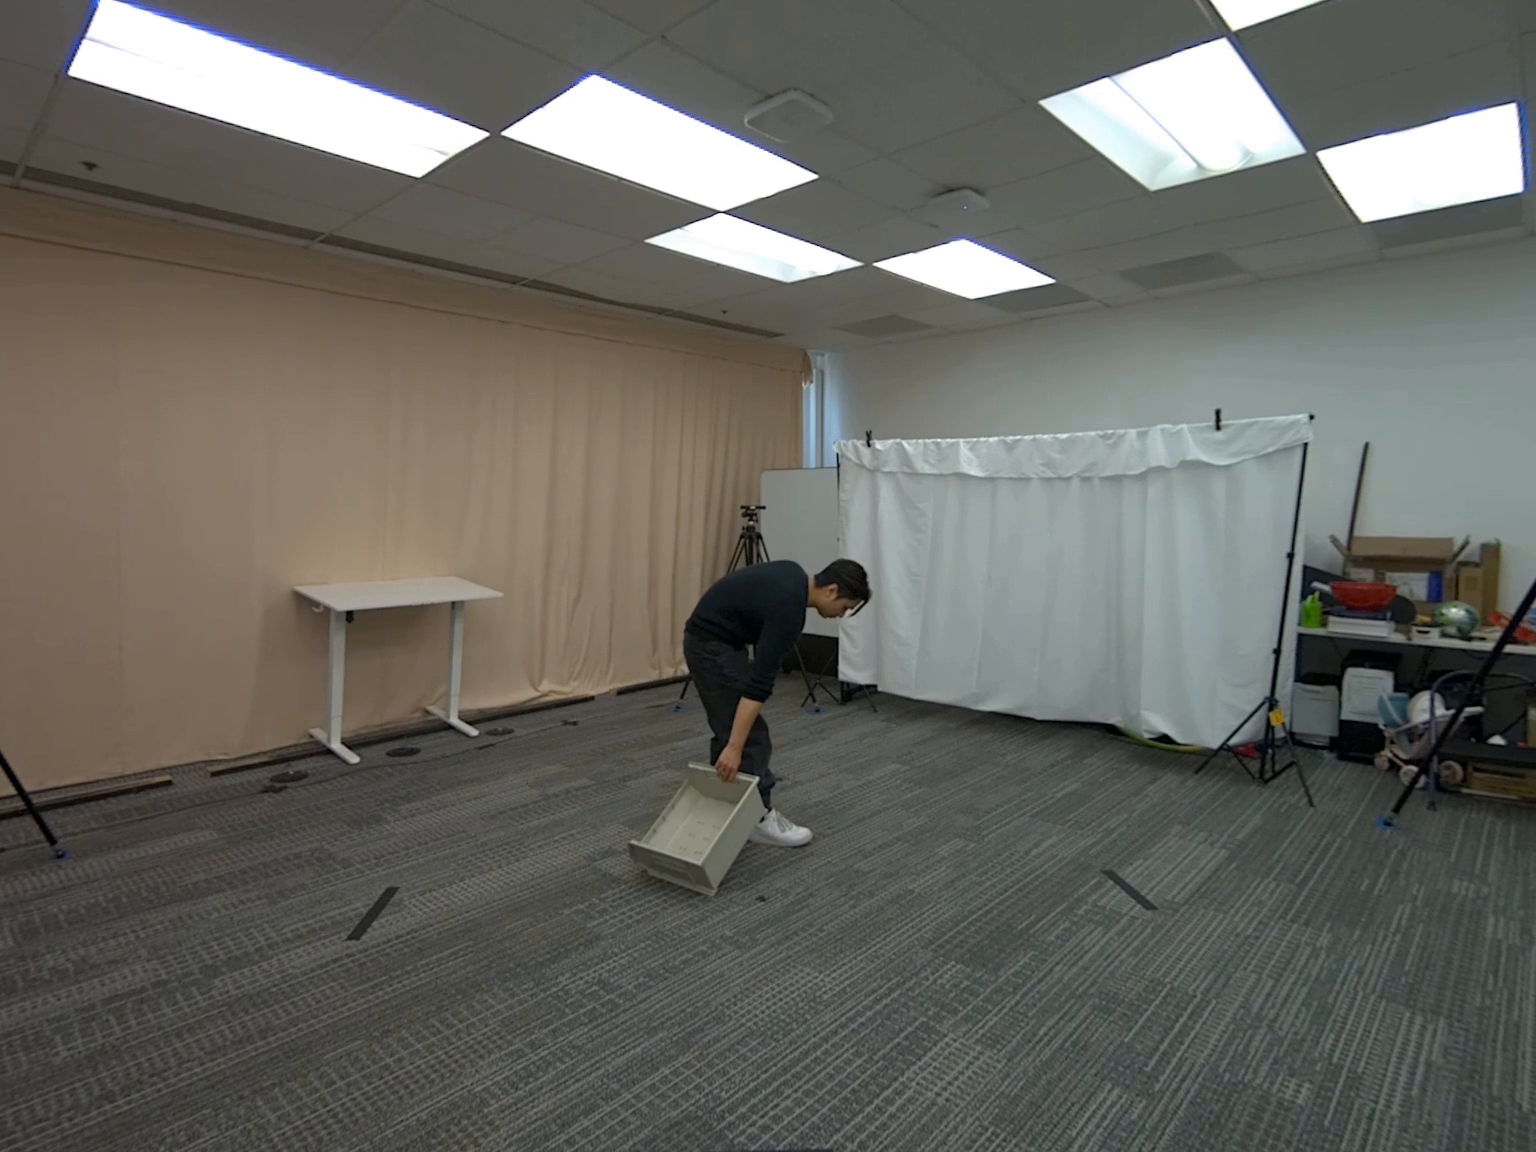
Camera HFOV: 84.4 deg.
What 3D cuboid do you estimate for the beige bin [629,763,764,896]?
[{"bbox_3d":[-0.267,0.941,3.199,0.389,0.184,0.419,4,36,35],"label":"beige bin"}]
